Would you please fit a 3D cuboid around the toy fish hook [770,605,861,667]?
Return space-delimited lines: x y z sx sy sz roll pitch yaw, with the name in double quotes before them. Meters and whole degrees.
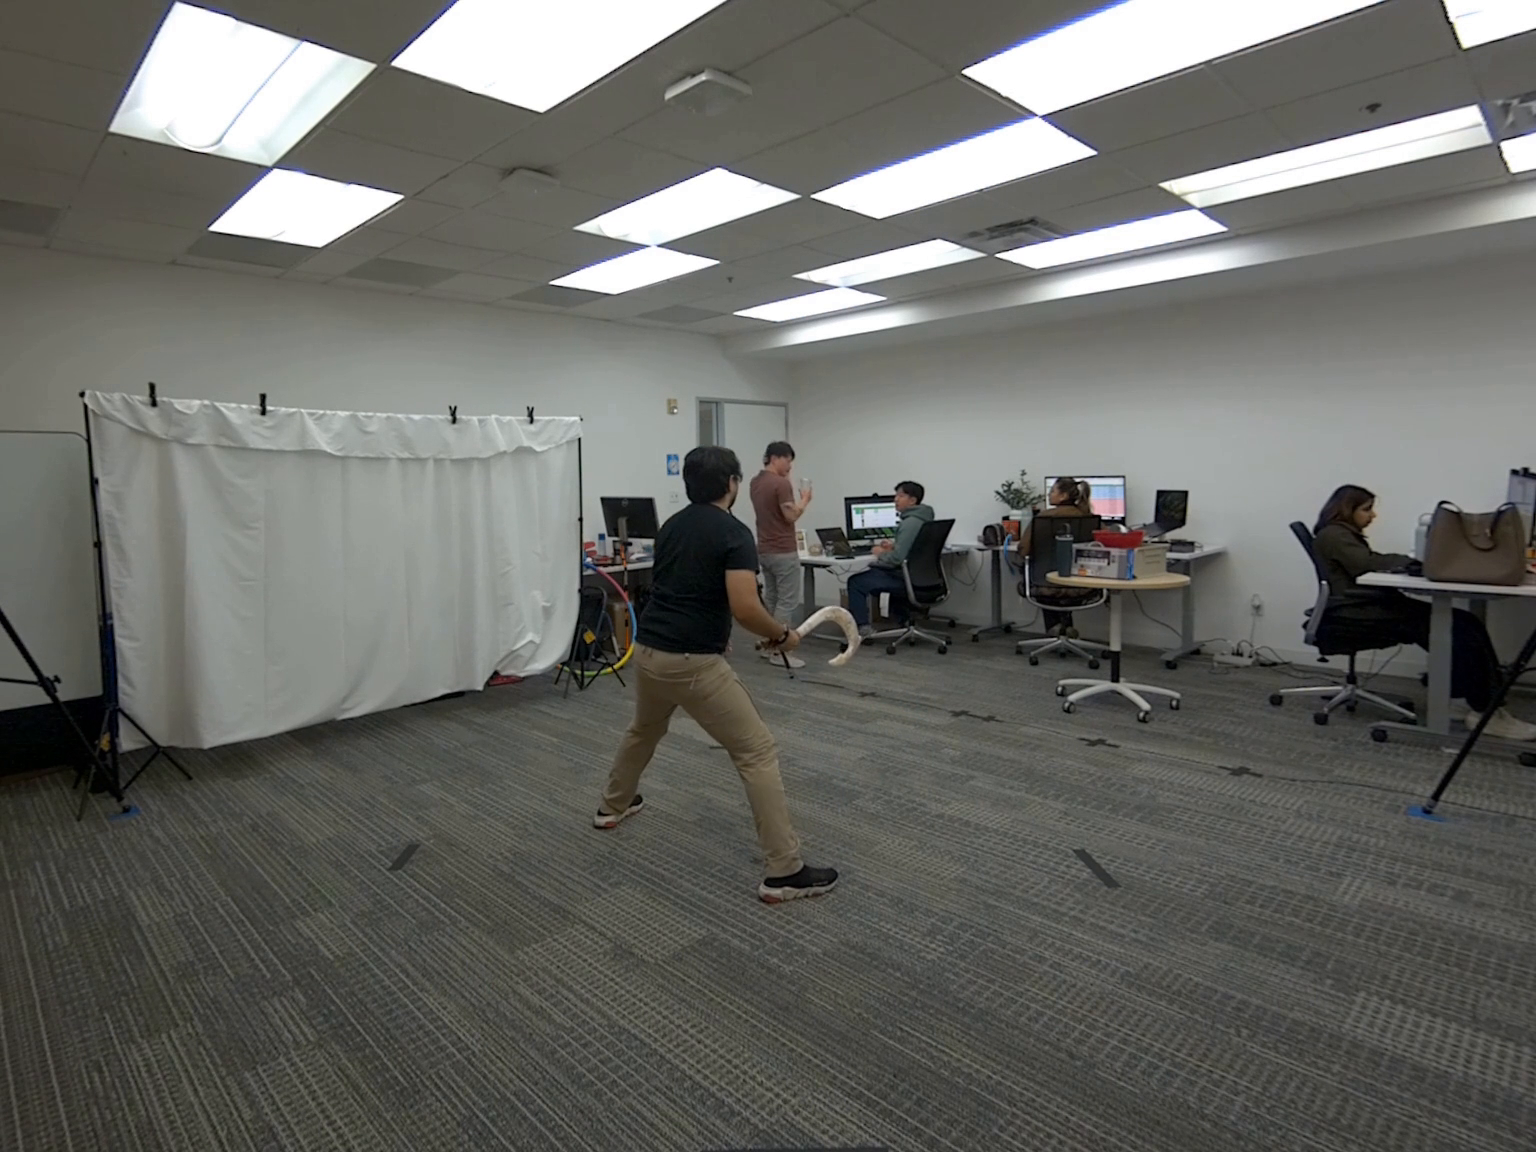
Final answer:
"toy fish hook" 0.162 0.261 3.251 0.496 0.227 0.048 -15 -12 -35
